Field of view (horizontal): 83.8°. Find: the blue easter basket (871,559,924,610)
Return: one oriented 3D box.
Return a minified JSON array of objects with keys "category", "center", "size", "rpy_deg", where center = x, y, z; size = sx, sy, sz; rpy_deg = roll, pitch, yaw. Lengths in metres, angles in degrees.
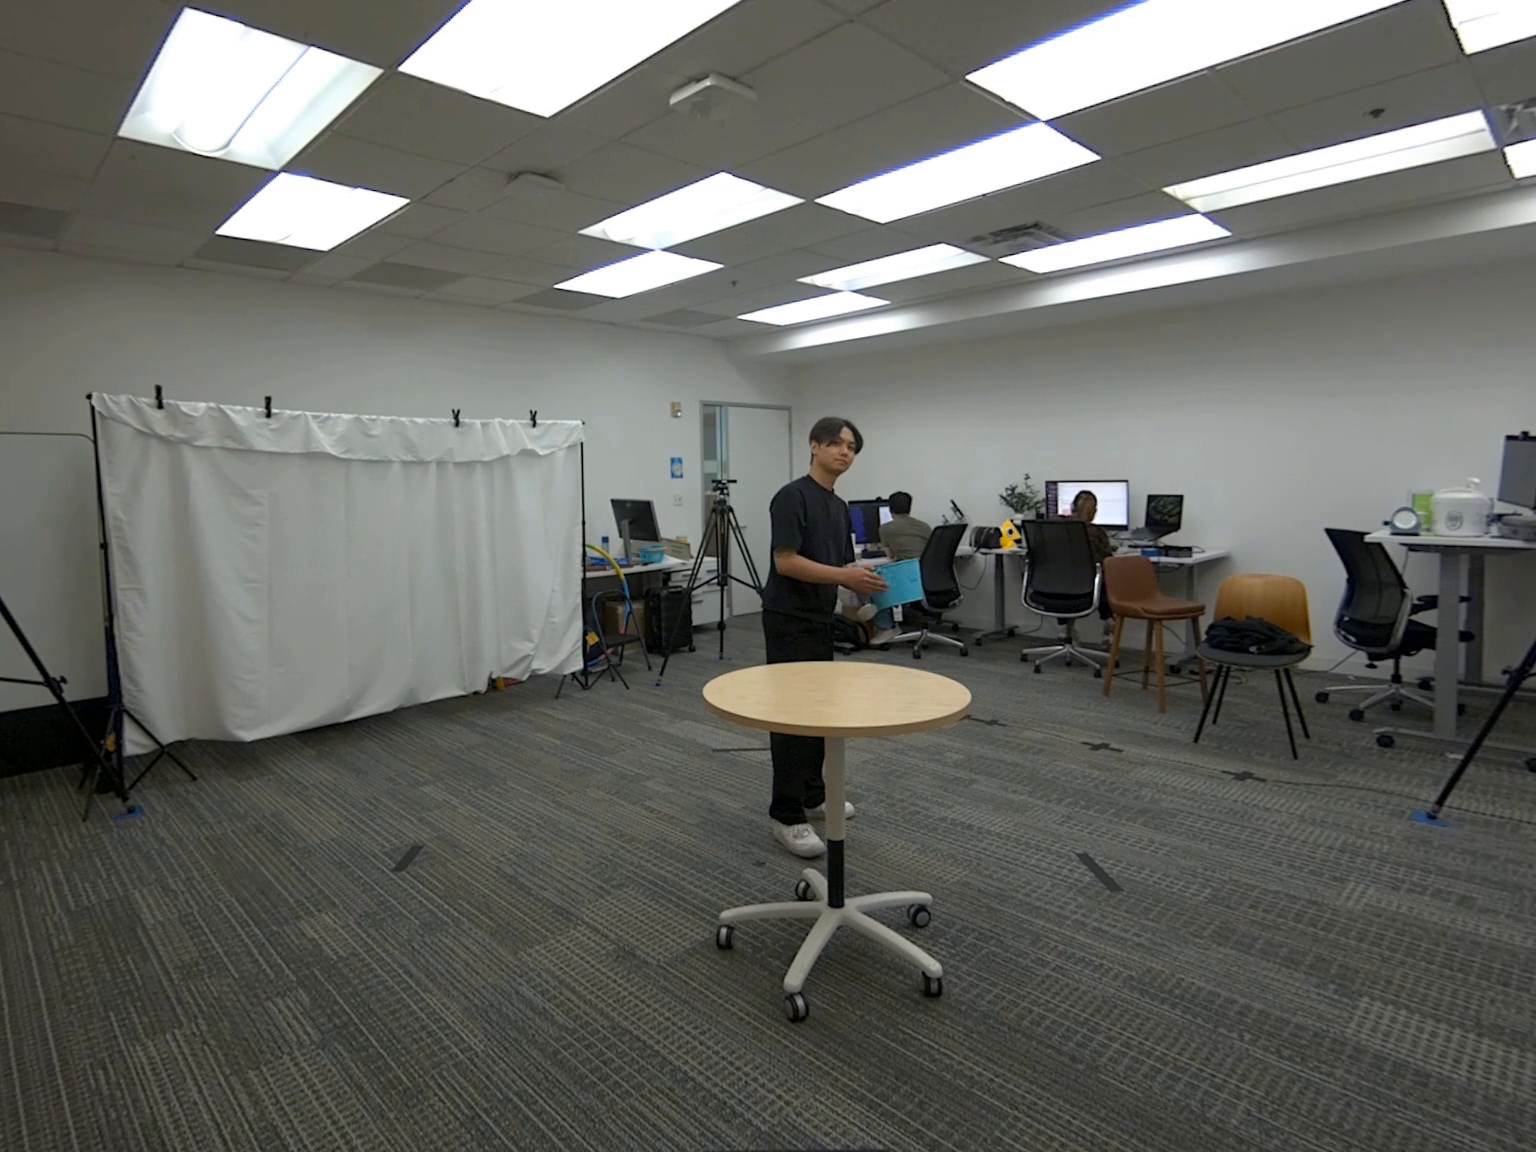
[{"category":"blue easter basket","center":[0.503,0.038,3.319],"size":[0.243,0.156,0.243],"rpy_deg":[-10,-3,-2]}]
